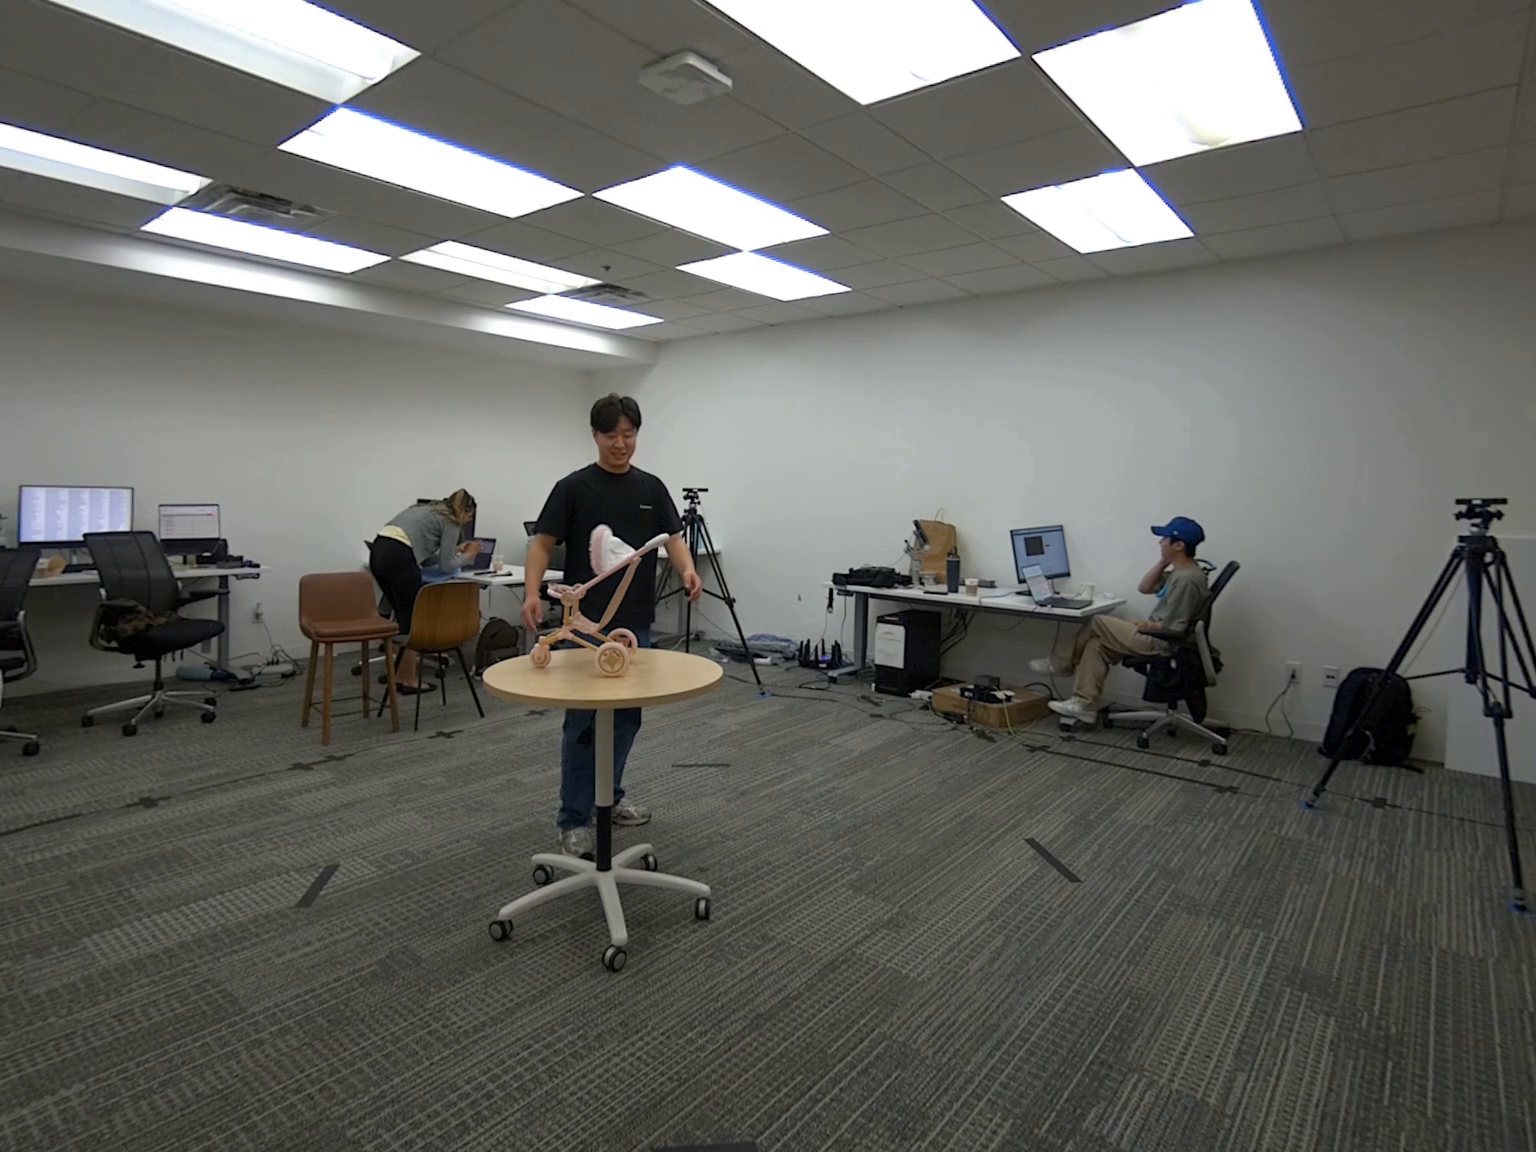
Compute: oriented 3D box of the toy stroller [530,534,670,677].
[{"bbox_3d":[-0.569,0.073,2.770,0.343,0.534,0.281,15,3,2],"label":"toy stroller"}]
